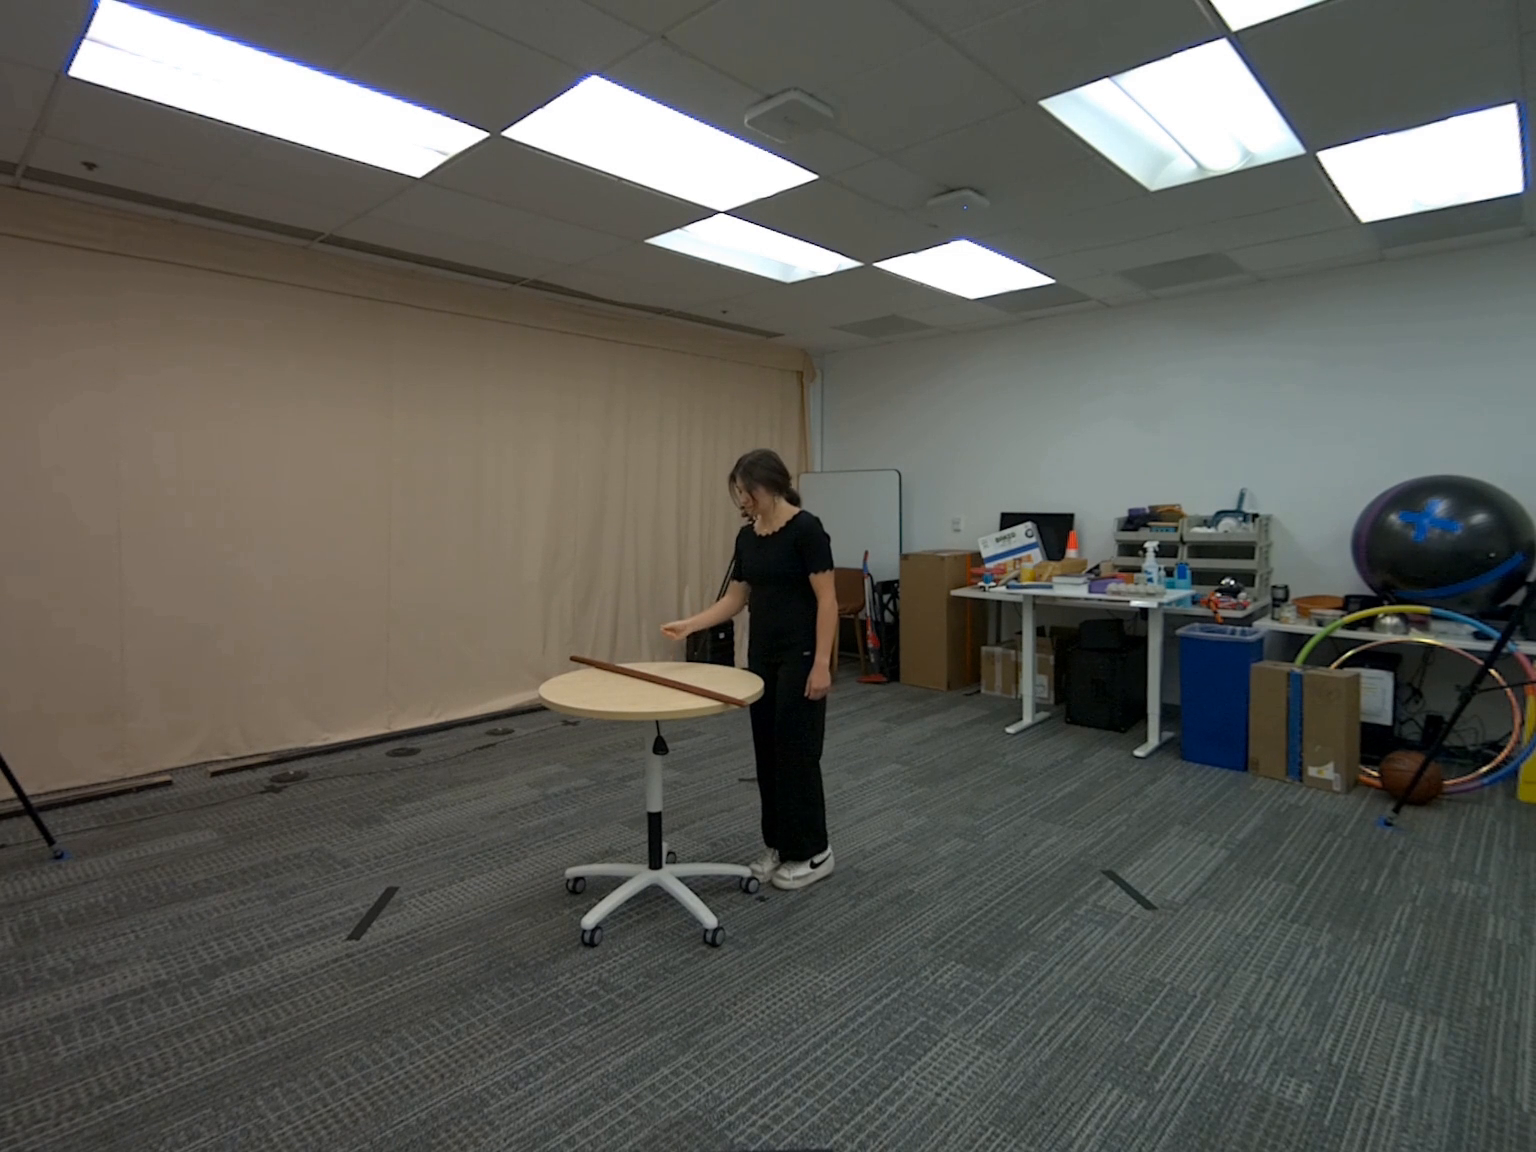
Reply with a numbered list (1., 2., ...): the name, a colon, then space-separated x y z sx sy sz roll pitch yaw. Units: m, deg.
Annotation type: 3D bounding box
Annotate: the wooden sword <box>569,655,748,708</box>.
1. wooden sword: -0.417 0.359 2.946 1.059 0.023 0.051 3 40 42
